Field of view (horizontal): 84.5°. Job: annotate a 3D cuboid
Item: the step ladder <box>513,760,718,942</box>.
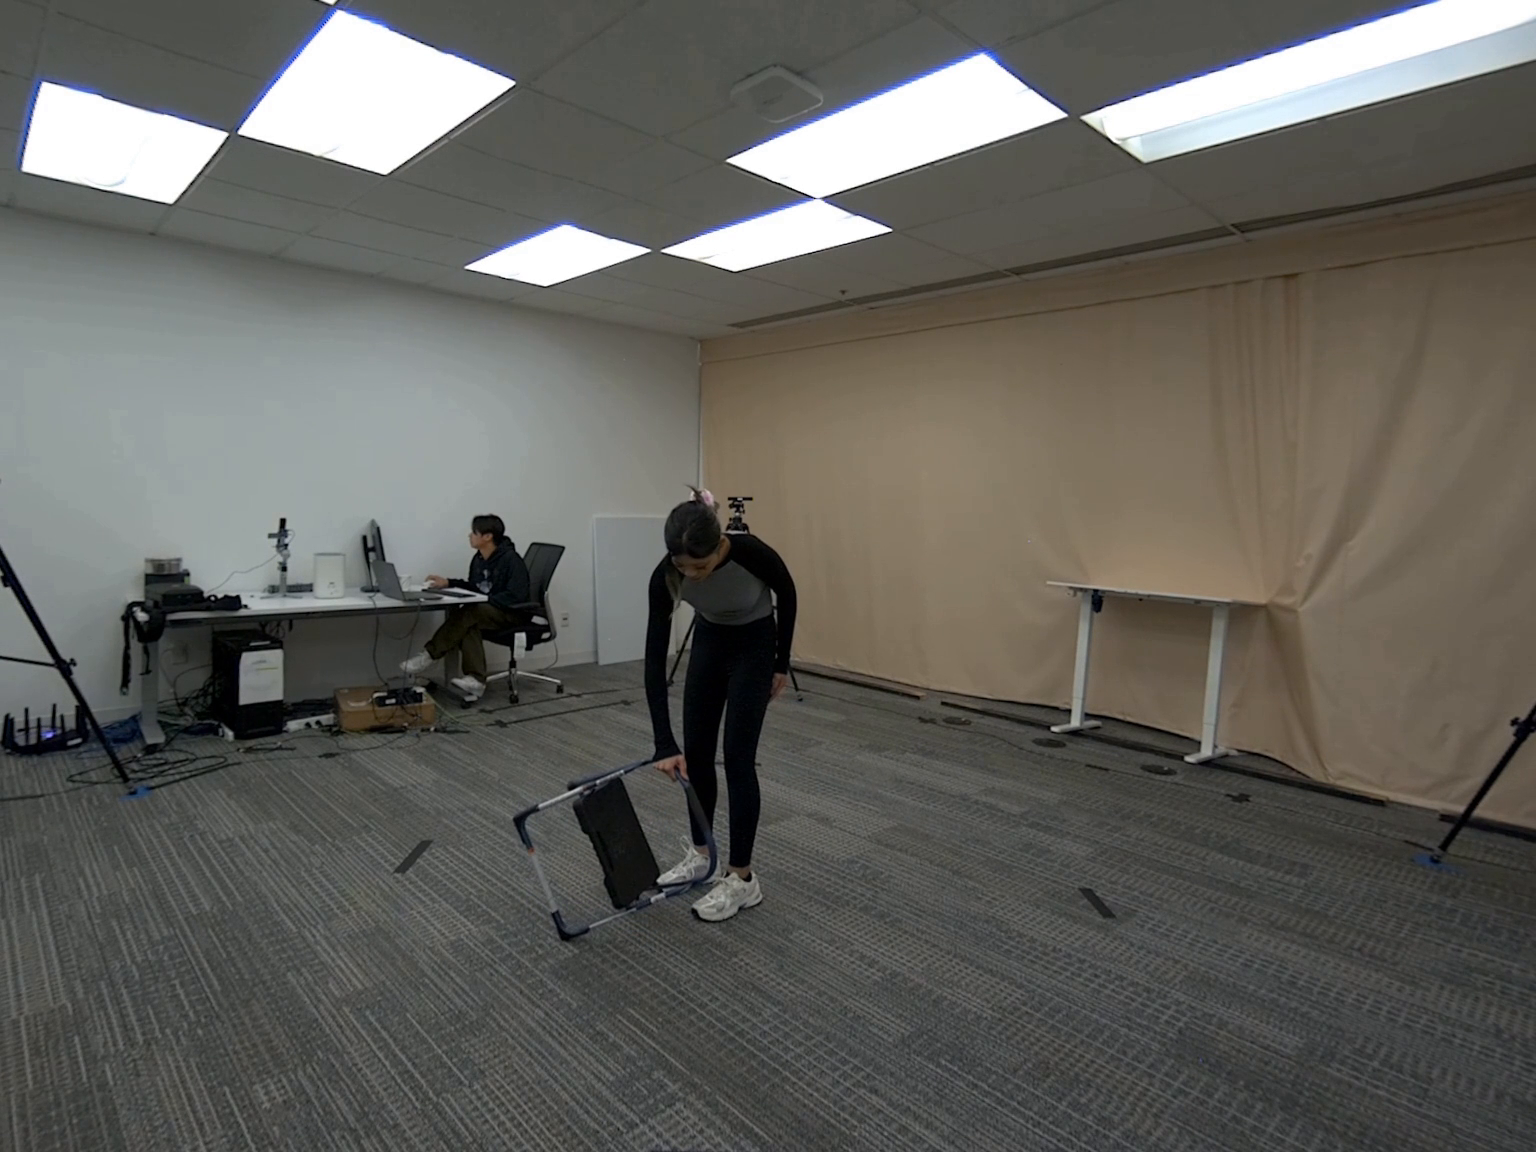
[{"bbox_3d":[-0.426,0.815,2.684,0.611,0.433,0.344,-26,-5,24],"label":"step ladder"}]
